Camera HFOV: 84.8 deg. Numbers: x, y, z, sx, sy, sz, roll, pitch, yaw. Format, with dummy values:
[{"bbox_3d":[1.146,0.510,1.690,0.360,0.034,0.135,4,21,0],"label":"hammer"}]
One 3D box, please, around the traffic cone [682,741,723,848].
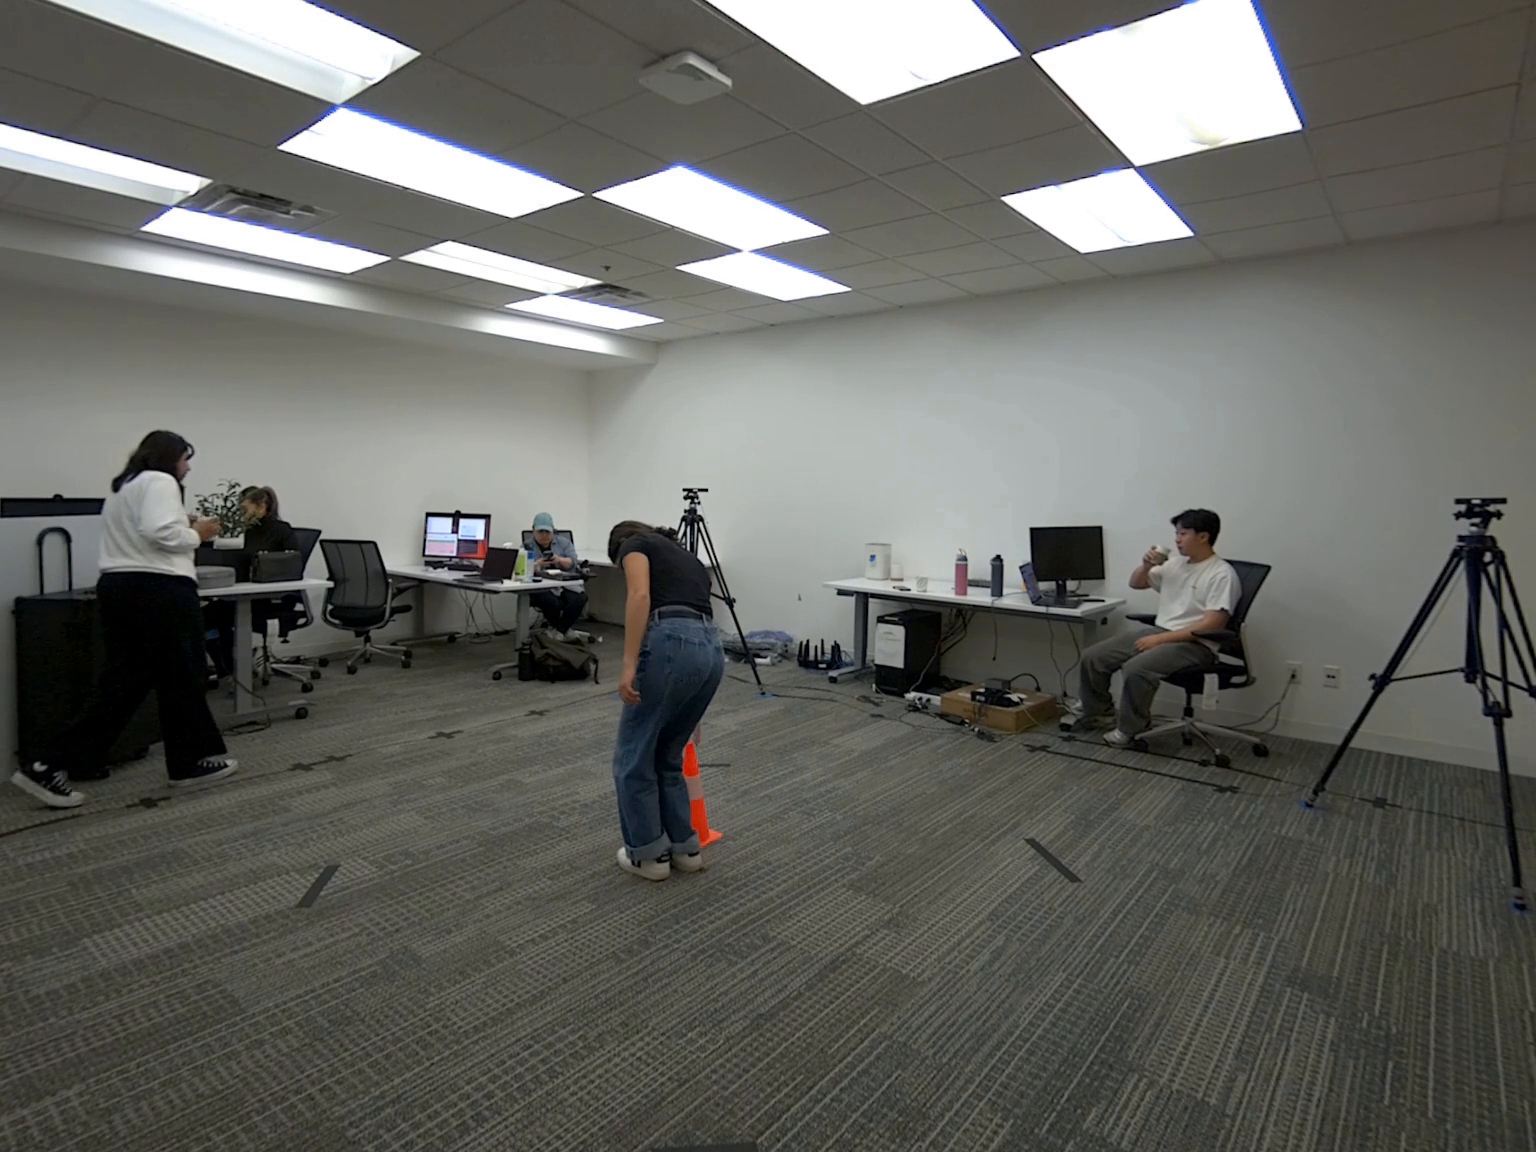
[{"bbox_3d":[-0.306,0.852,3.400,0.210,0.382,0.199,3,4,33],"label":"traffic cone"}]
